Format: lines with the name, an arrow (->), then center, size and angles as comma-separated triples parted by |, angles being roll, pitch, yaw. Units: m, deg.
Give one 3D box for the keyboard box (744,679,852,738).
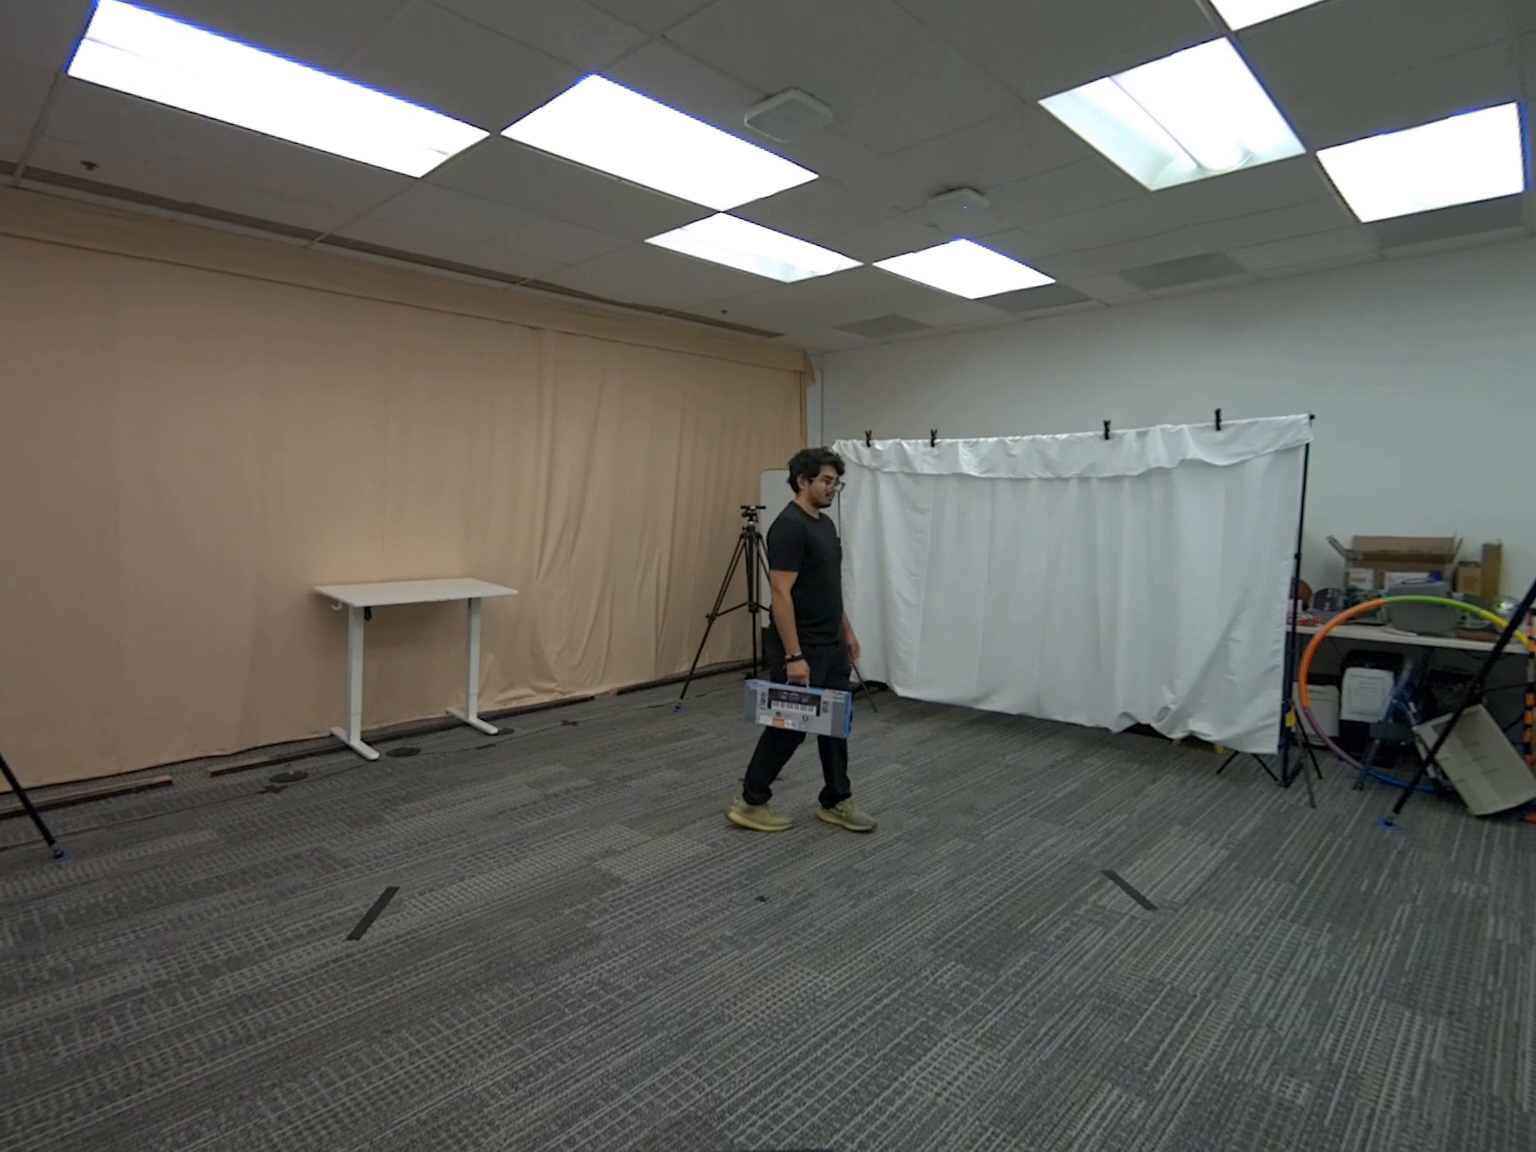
keyboard box -> 0.119, 0.527, 3.383 | 0.448, 0.176, 0.057 | 4, 0, 26
